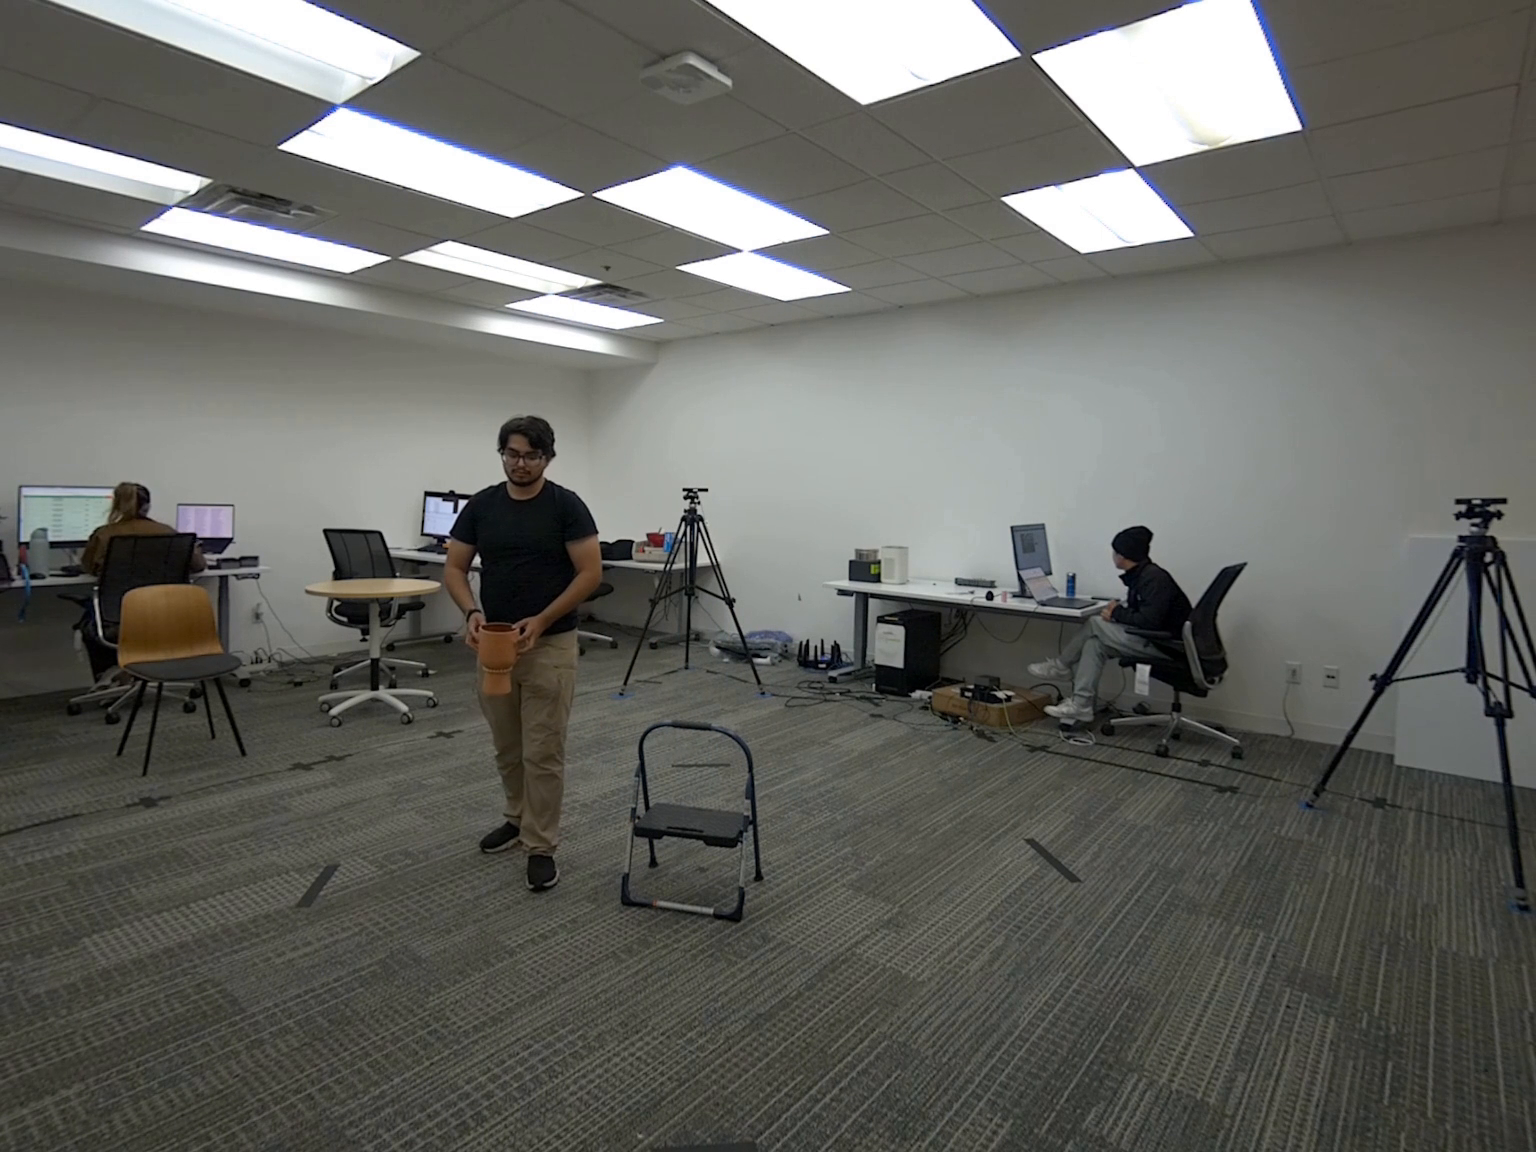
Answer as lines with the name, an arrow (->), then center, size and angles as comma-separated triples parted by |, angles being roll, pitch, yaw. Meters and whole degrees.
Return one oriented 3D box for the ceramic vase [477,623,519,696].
ceramic vase -> -0.927, 0.277, 2.883 | 0.164, 0.218, 0.131 | 10, 11, 37
